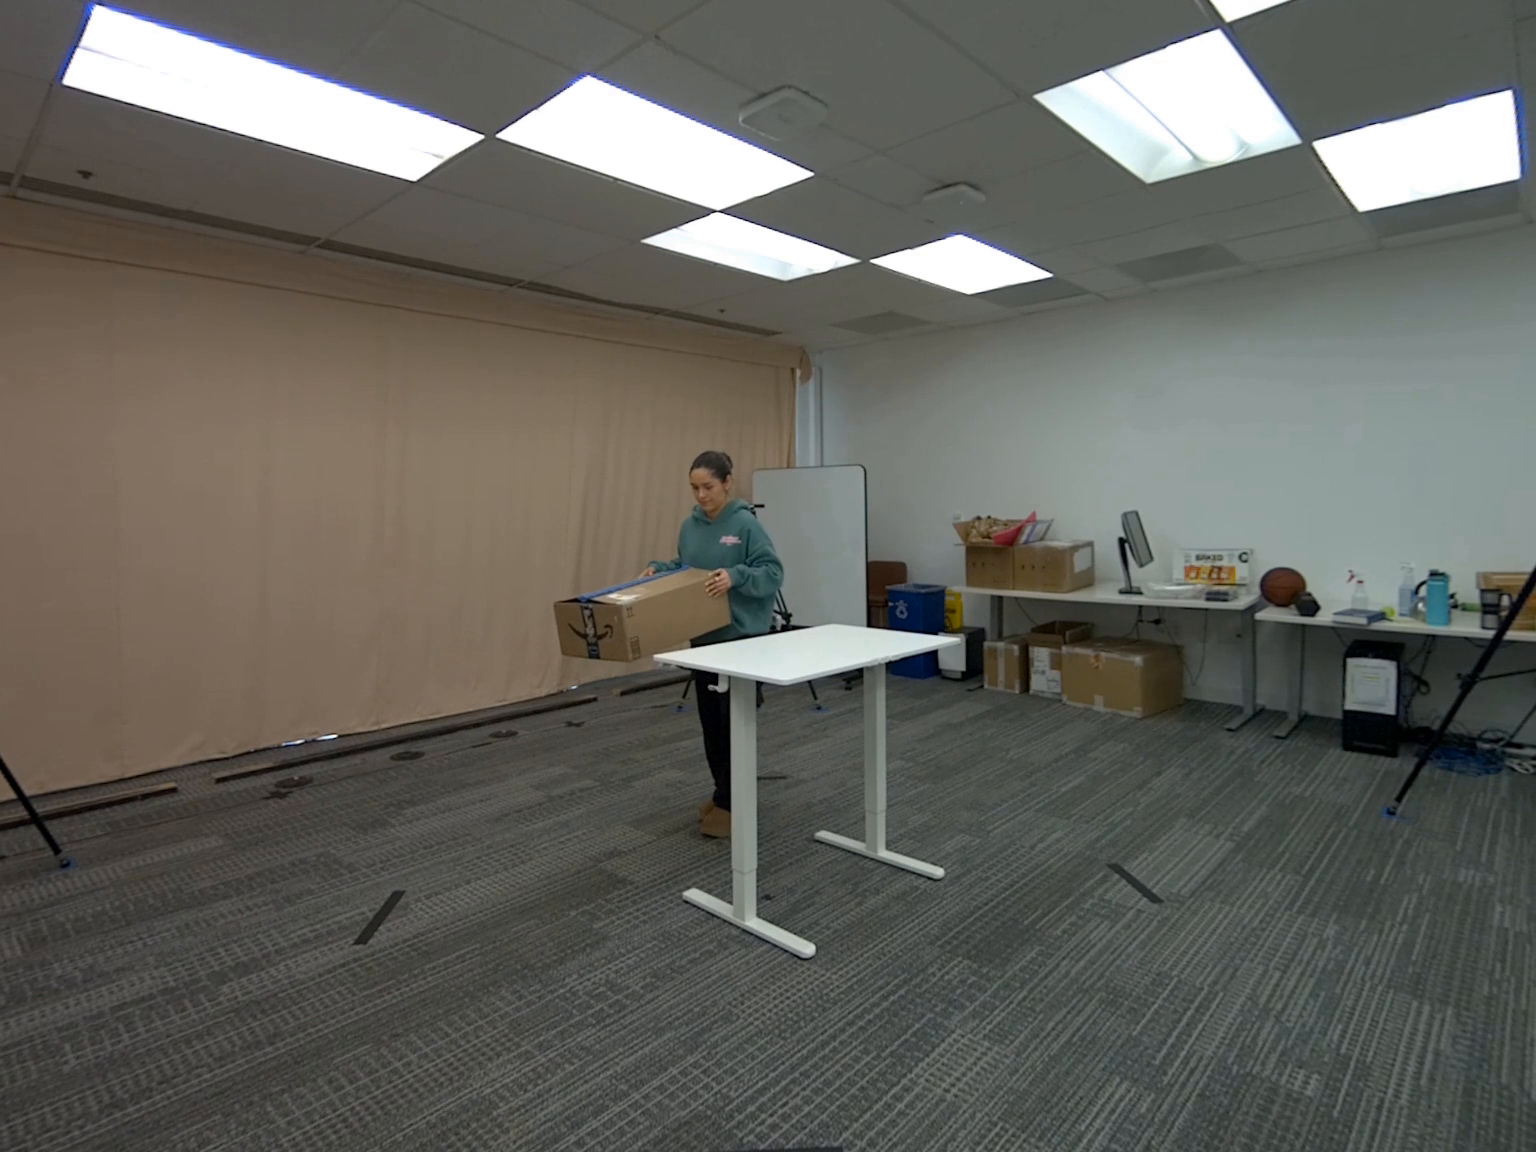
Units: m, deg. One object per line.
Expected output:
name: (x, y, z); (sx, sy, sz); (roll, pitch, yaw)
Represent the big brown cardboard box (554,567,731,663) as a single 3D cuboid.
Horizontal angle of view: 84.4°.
big brown cardboard box: (-0.497, 0.143, 3.361); (0.431, 0.232, 0.573); (0, 10, 41)
